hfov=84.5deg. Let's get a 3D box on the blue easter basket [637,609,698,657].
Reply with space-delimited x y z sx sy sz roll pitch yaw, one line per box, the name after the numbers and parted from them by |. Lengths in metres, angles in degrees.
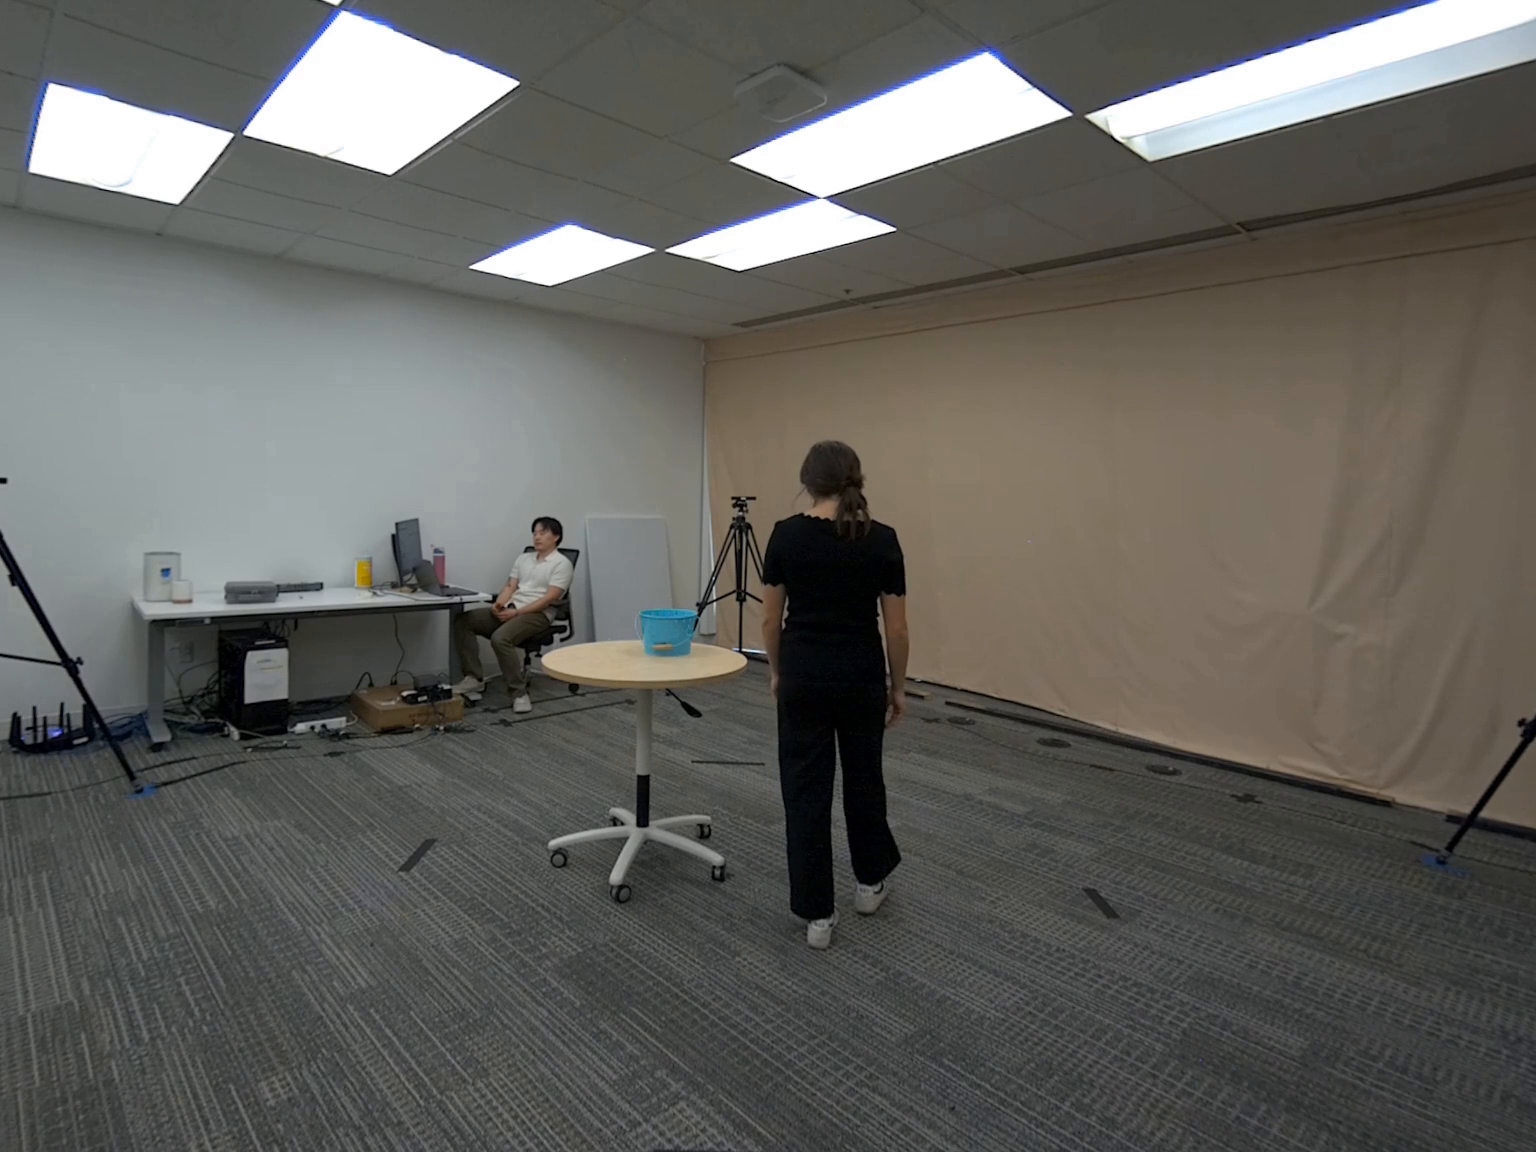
-0.414 0.225 3.301 0.243 0.155 0.244 3 4 -2 | blue easter basket
